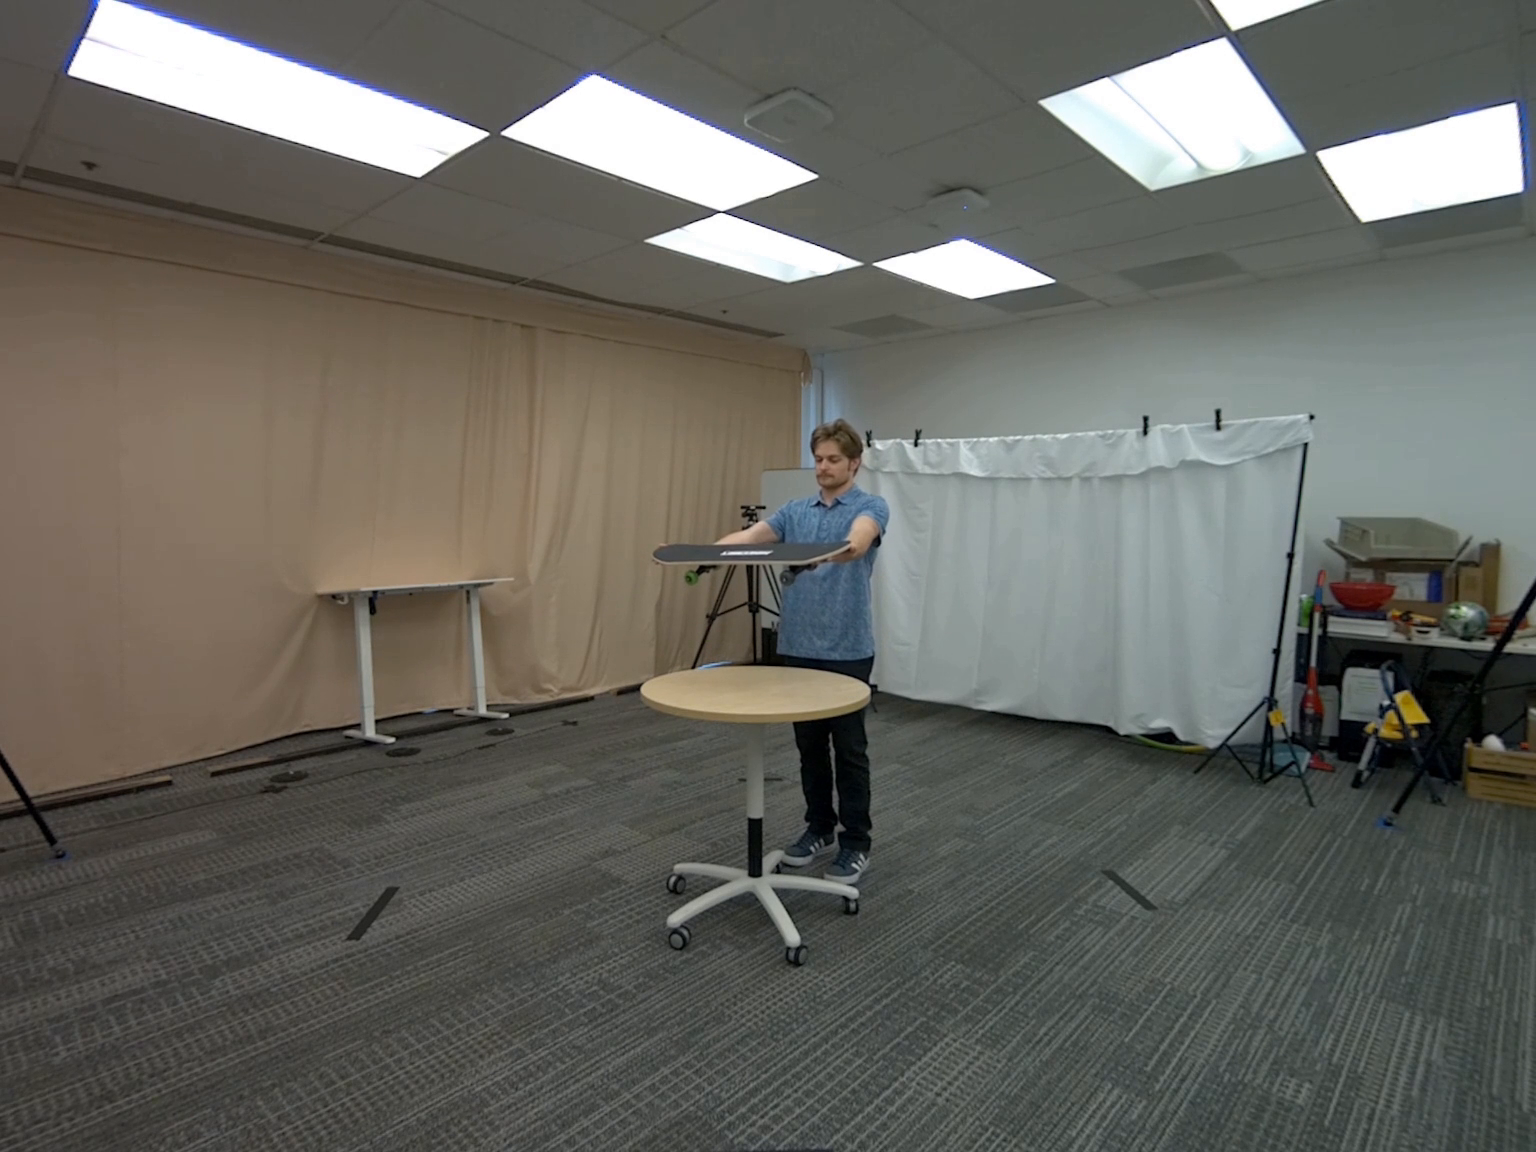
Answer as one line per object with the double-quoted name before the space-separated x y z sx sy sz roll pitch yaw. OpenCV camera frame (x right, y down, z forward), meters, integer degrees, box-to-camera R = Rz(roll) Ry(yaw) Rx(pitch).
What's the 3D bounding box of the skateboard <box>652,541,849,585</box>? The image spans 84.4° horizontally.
"skateboard" -0.067 -0.044 2.881 0.810 0.109 0.190 1 20 36
